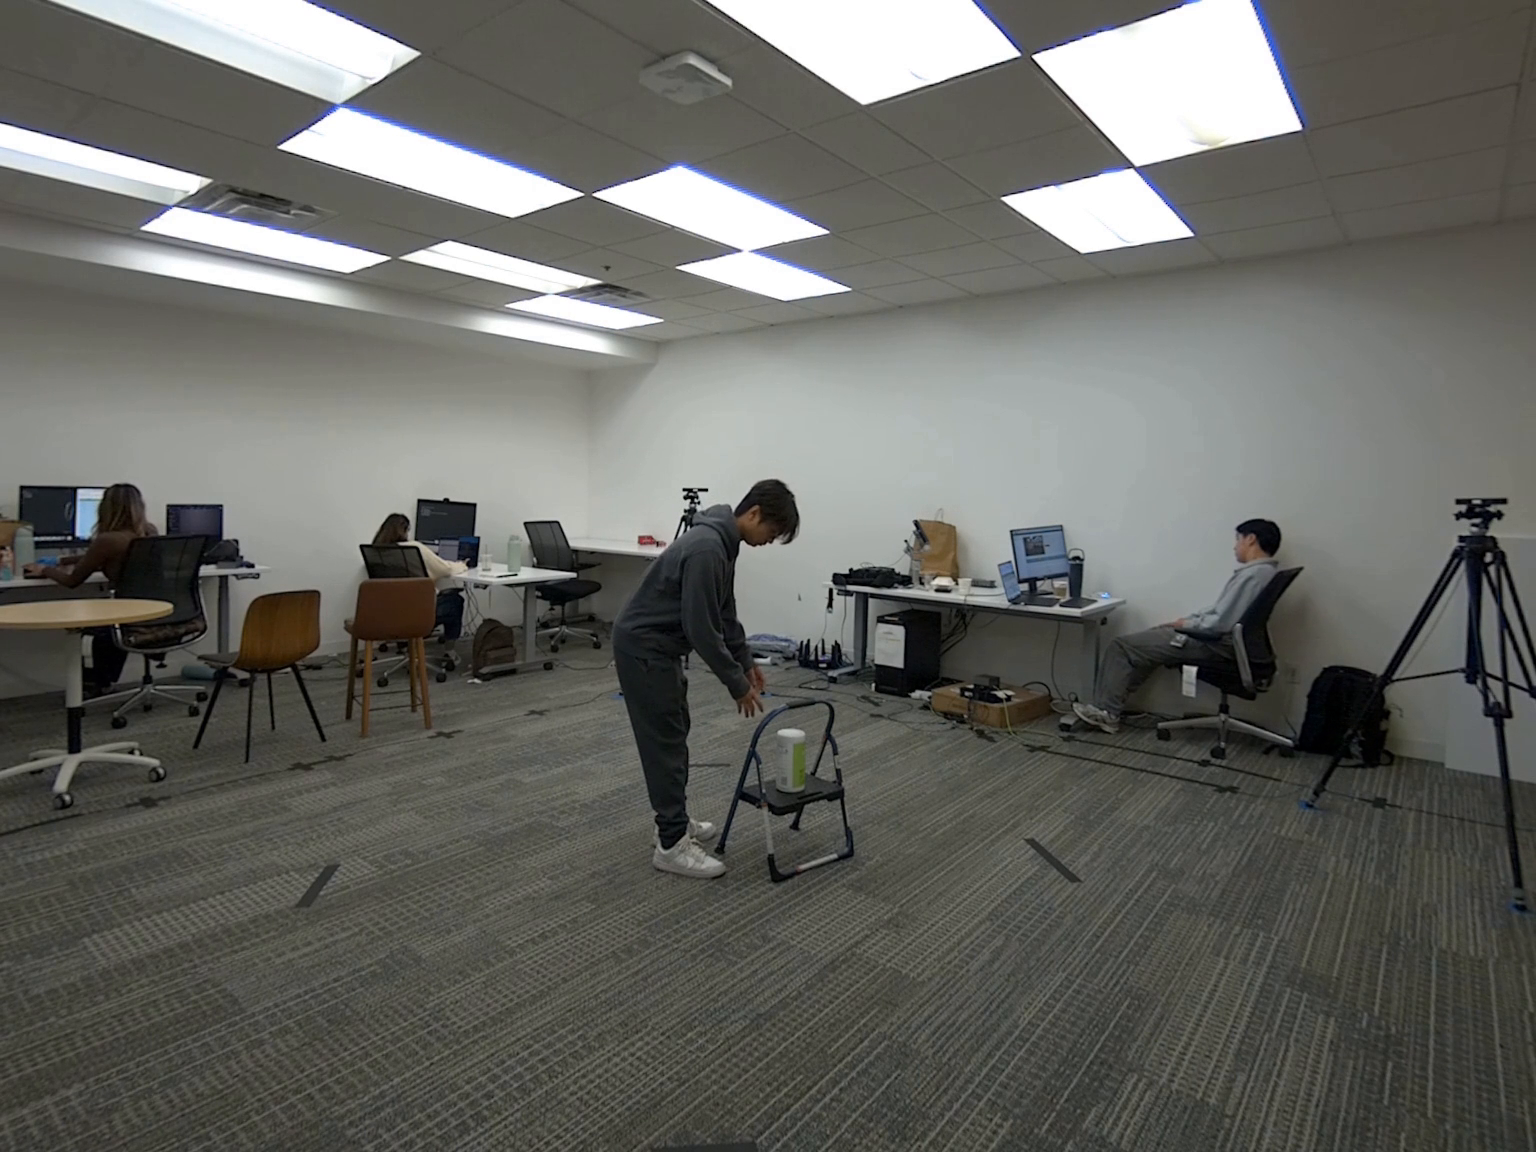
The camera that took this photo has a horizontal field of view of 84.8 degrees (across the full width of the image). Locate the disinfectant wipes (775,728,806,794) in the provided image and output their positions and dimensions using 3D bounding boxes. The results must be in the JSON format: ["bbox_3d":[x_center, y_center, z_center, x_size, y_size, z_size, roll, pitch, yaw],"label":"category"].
[{"bbox_3d":[0.080,0.701,3.222,0.117,0.217,0.118,2,3,-2],"label":"disinfectant wipes"}]
